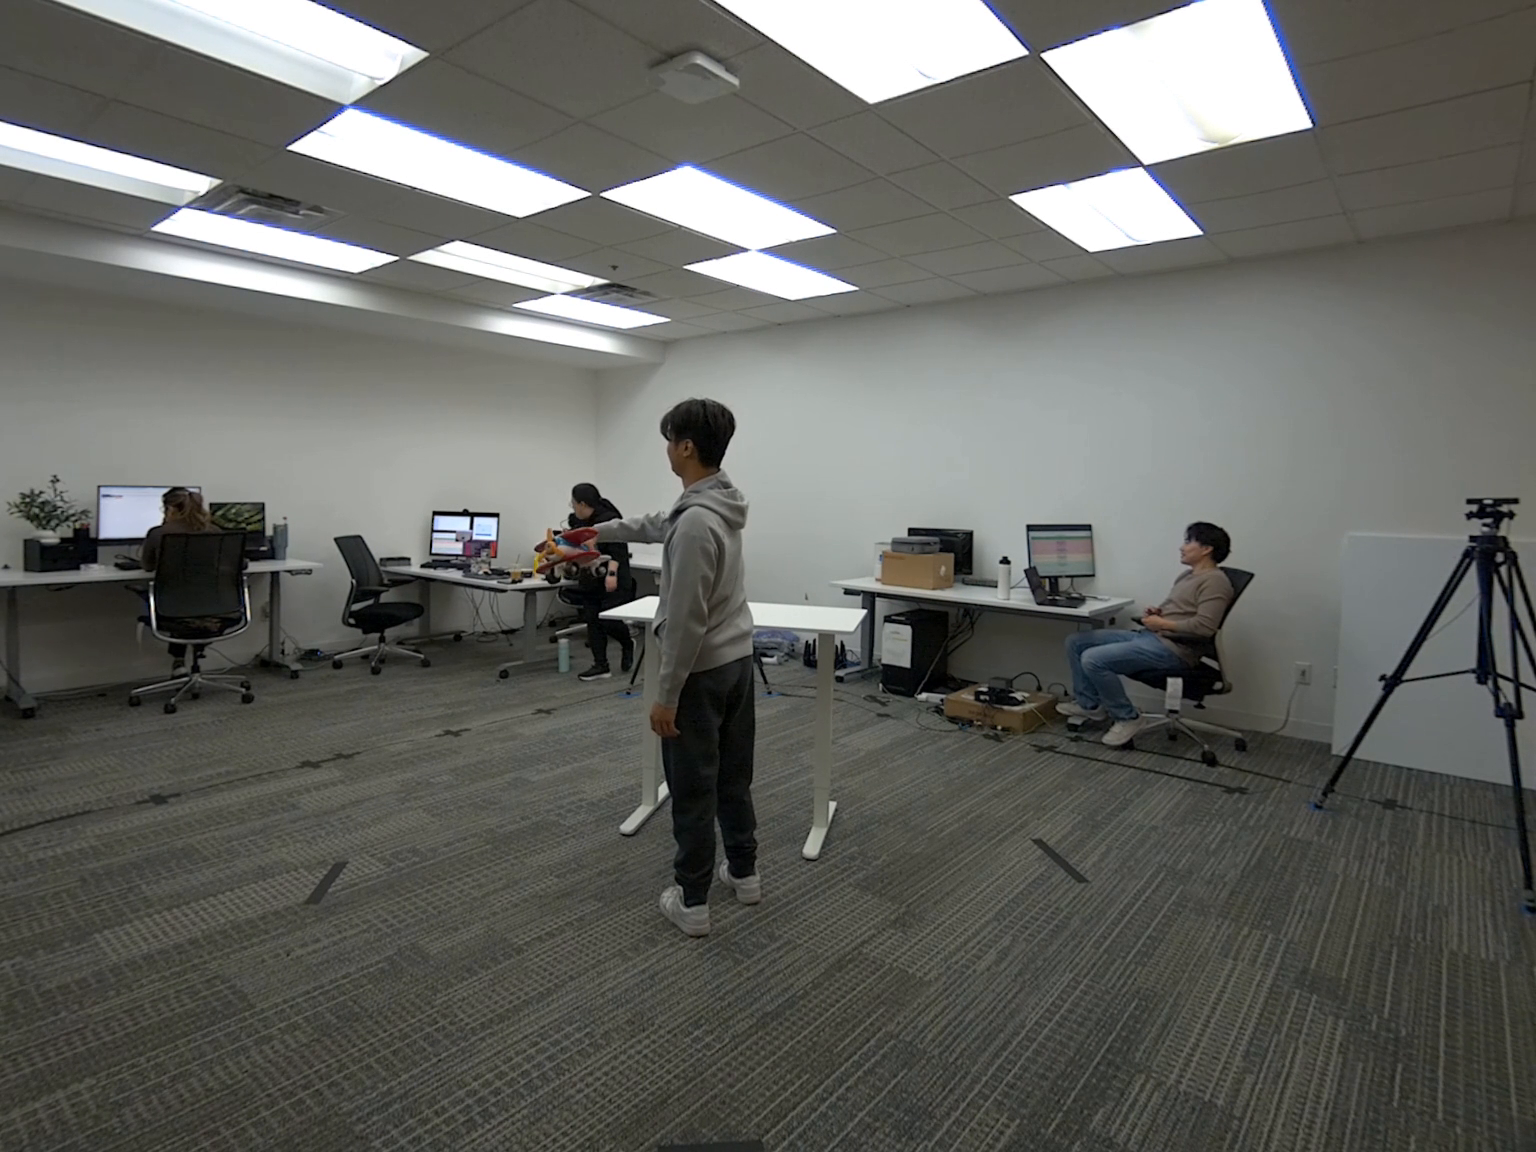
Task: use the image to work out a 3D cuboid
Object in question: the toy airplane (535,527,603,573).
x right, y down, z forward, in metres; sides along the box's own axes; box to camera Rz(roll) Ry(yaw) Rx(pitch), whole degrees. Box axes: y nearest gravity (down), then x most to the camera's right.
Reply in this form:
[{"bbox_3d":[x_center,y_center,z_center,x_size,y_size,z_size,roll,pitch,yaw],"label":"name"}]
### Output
[{"bbox_3d":[-0.702,-0.075,2.924,0.251,0.157,0.257,-15,-4,0],"label":"toy airplane"}]
